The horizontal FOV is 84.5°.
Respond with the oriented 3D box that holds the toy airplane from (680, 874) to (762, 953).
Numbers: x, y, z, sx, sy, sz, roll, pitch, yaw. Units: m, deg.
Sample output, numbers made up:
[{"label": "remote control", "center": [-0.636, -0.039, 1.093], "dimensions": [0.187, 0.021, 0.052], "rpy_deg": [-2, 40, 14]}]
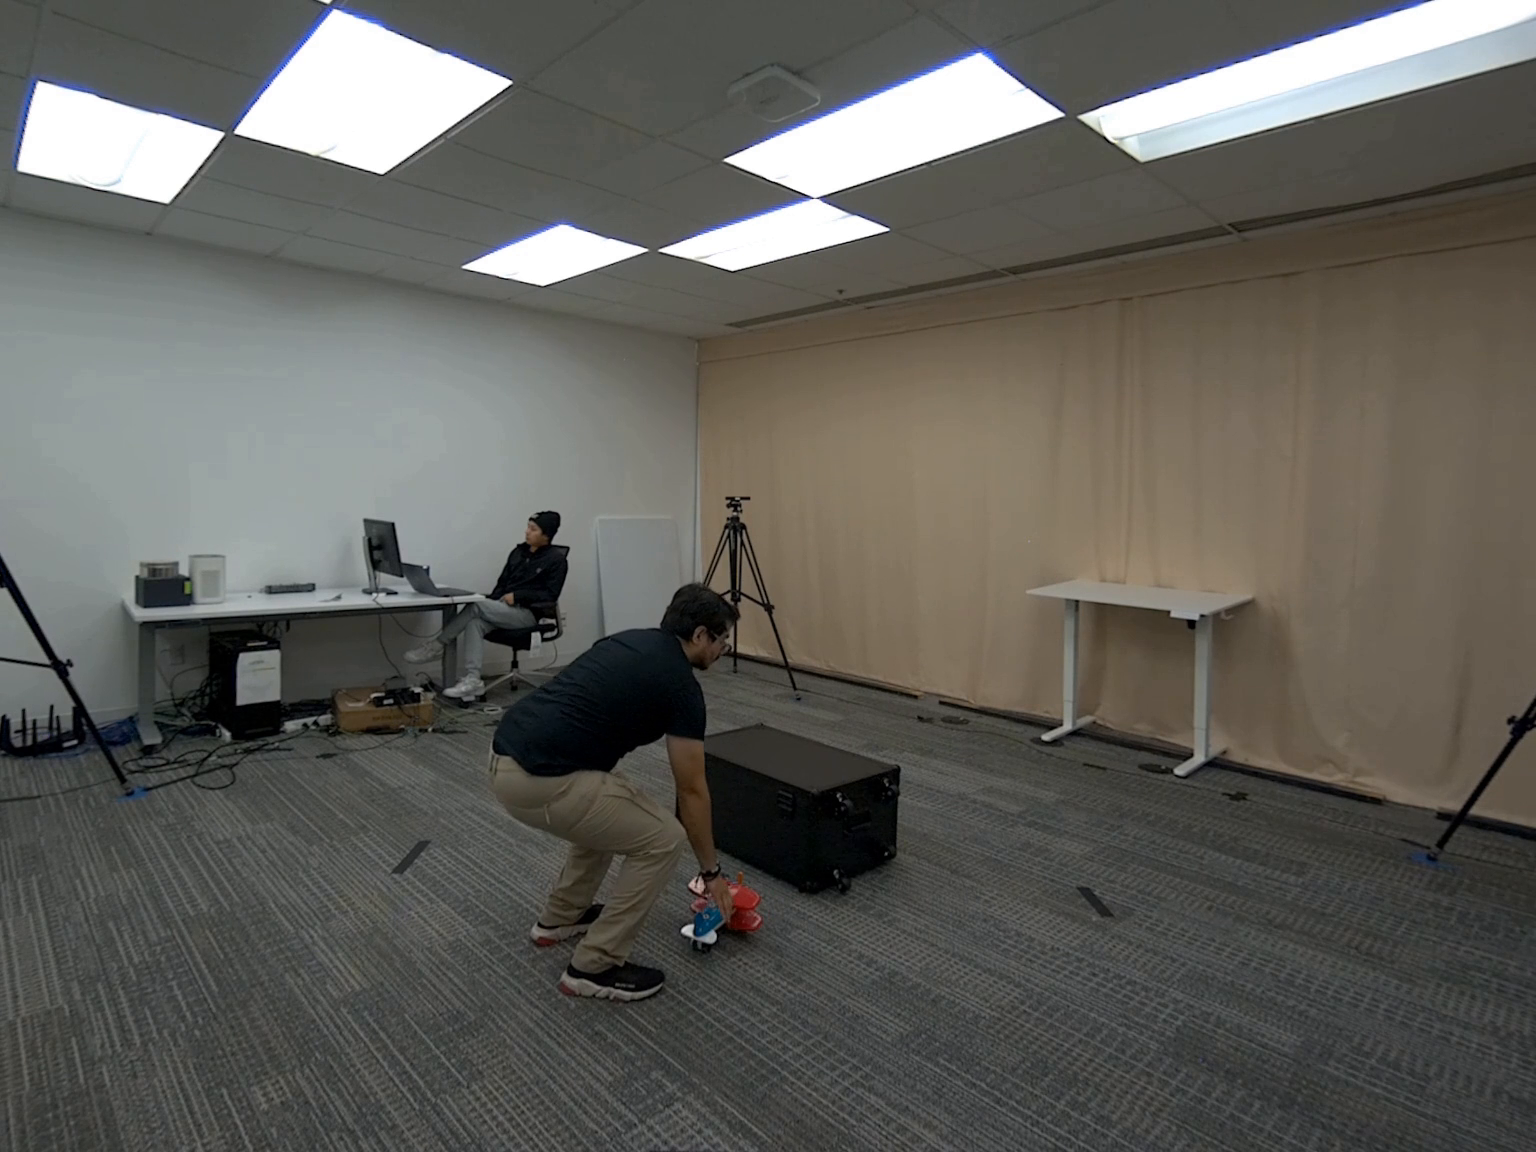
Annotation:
[{"label": "toy airplane", "center": [-0.144, 1.077, 2.652], "dimensions": [0.252, 0.156, 0.259], "rpy_deg": [1, 4, 2]}]
